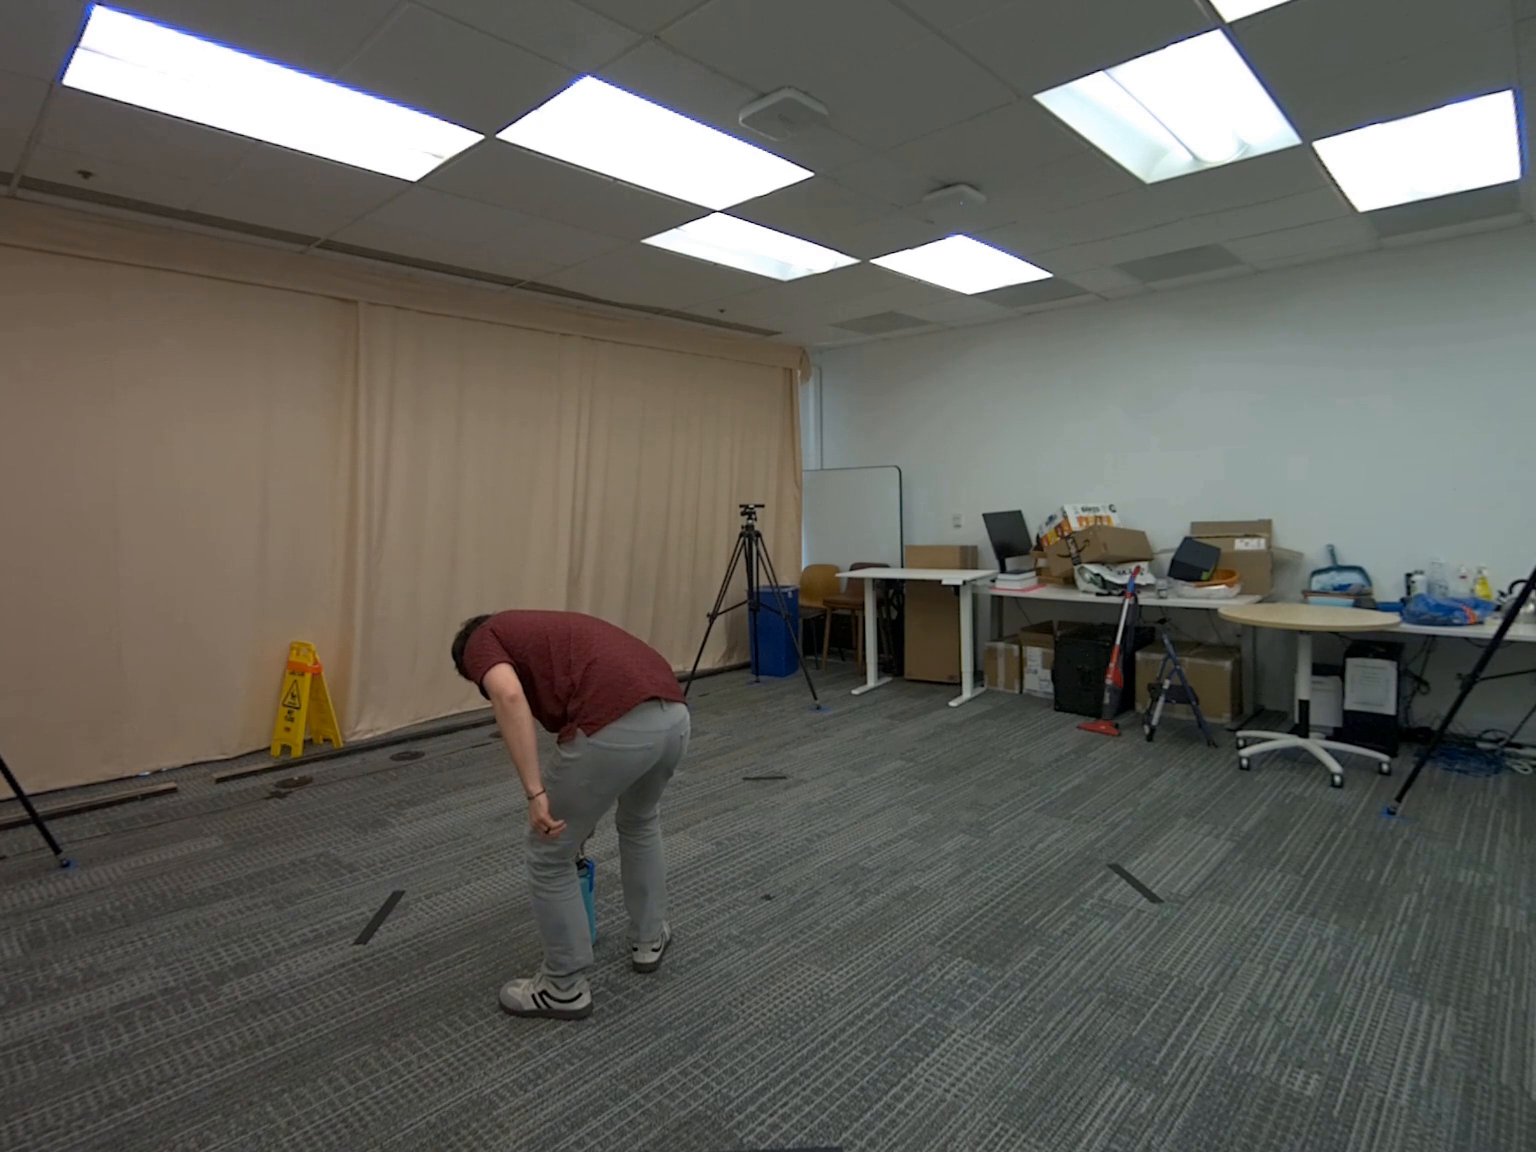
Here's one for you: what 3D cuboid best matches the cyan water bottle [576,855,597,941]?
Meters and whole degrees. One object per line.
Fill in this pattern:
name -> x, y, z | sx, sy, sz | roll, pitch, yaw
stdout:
cyan water bottle -> -0.597, 1.045, 2.694 | 0.092, 0.283, 0.092 | -1, 3, -2
